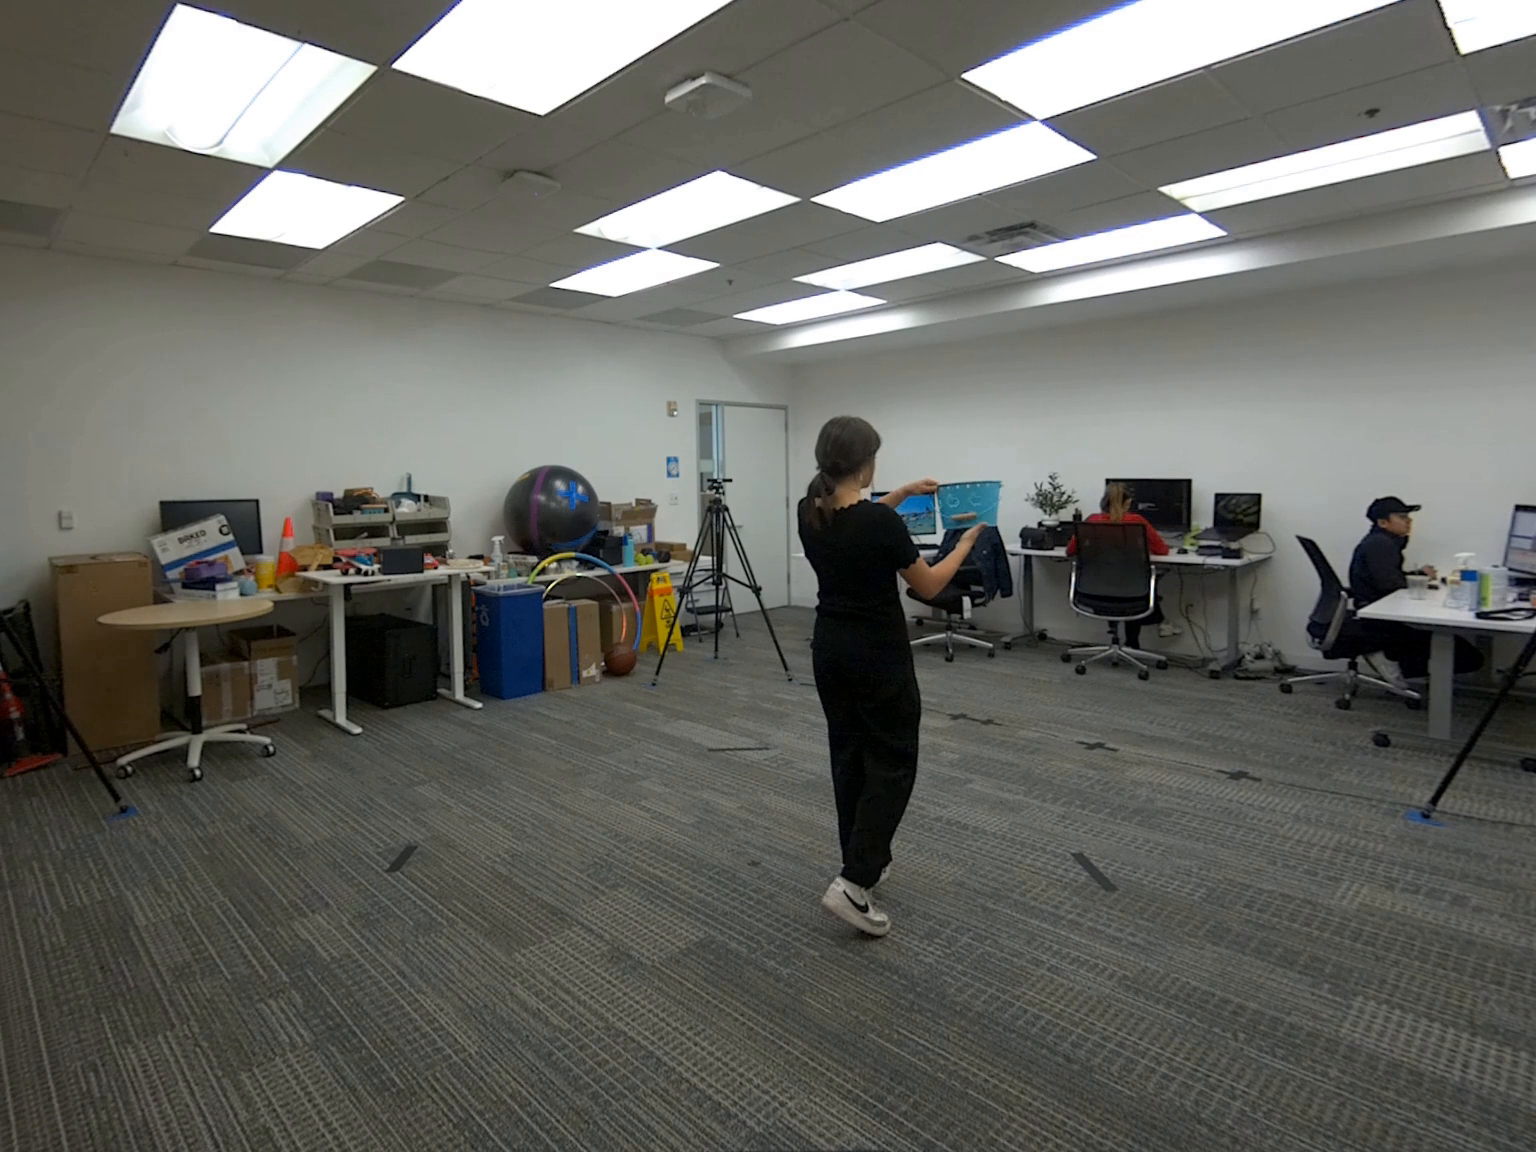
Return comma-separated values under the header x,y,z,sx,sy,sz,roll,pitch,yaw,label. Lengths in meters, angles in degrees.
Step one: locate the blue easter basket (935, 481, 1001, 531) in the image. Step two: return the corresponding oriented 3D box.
x,y,z,sx,sy,sz,roll,pitch,yaw,label
0.686,-0.242,2.949,0.243,0.156,0.244,-3,1,-2,blue easter basket
